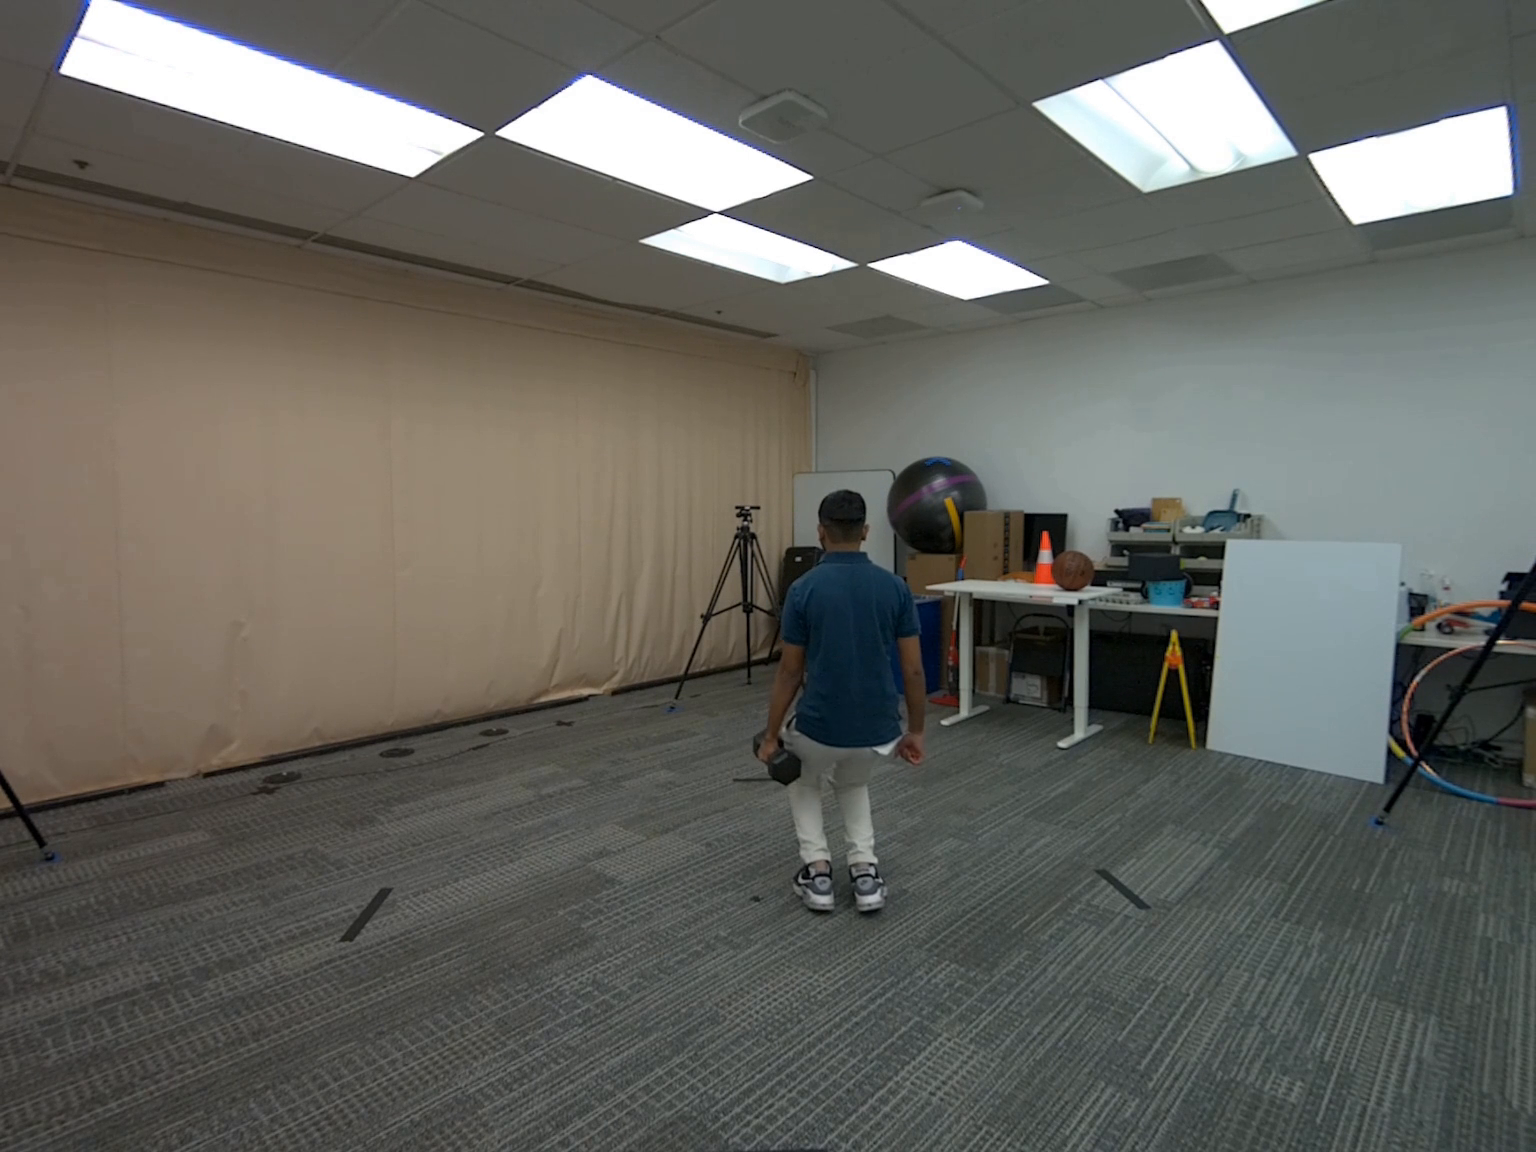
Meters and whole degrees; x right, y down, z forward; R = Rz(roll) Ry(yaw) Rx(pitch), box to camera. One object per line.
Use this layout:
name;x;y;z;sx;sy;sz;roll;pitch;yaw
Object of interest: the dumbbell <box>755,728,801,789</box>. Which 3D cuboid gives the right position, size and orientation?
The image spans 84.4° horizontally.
dumbbell;0.048;0.655;3.089;0.107;0.122;0.299;-2;7;-17
